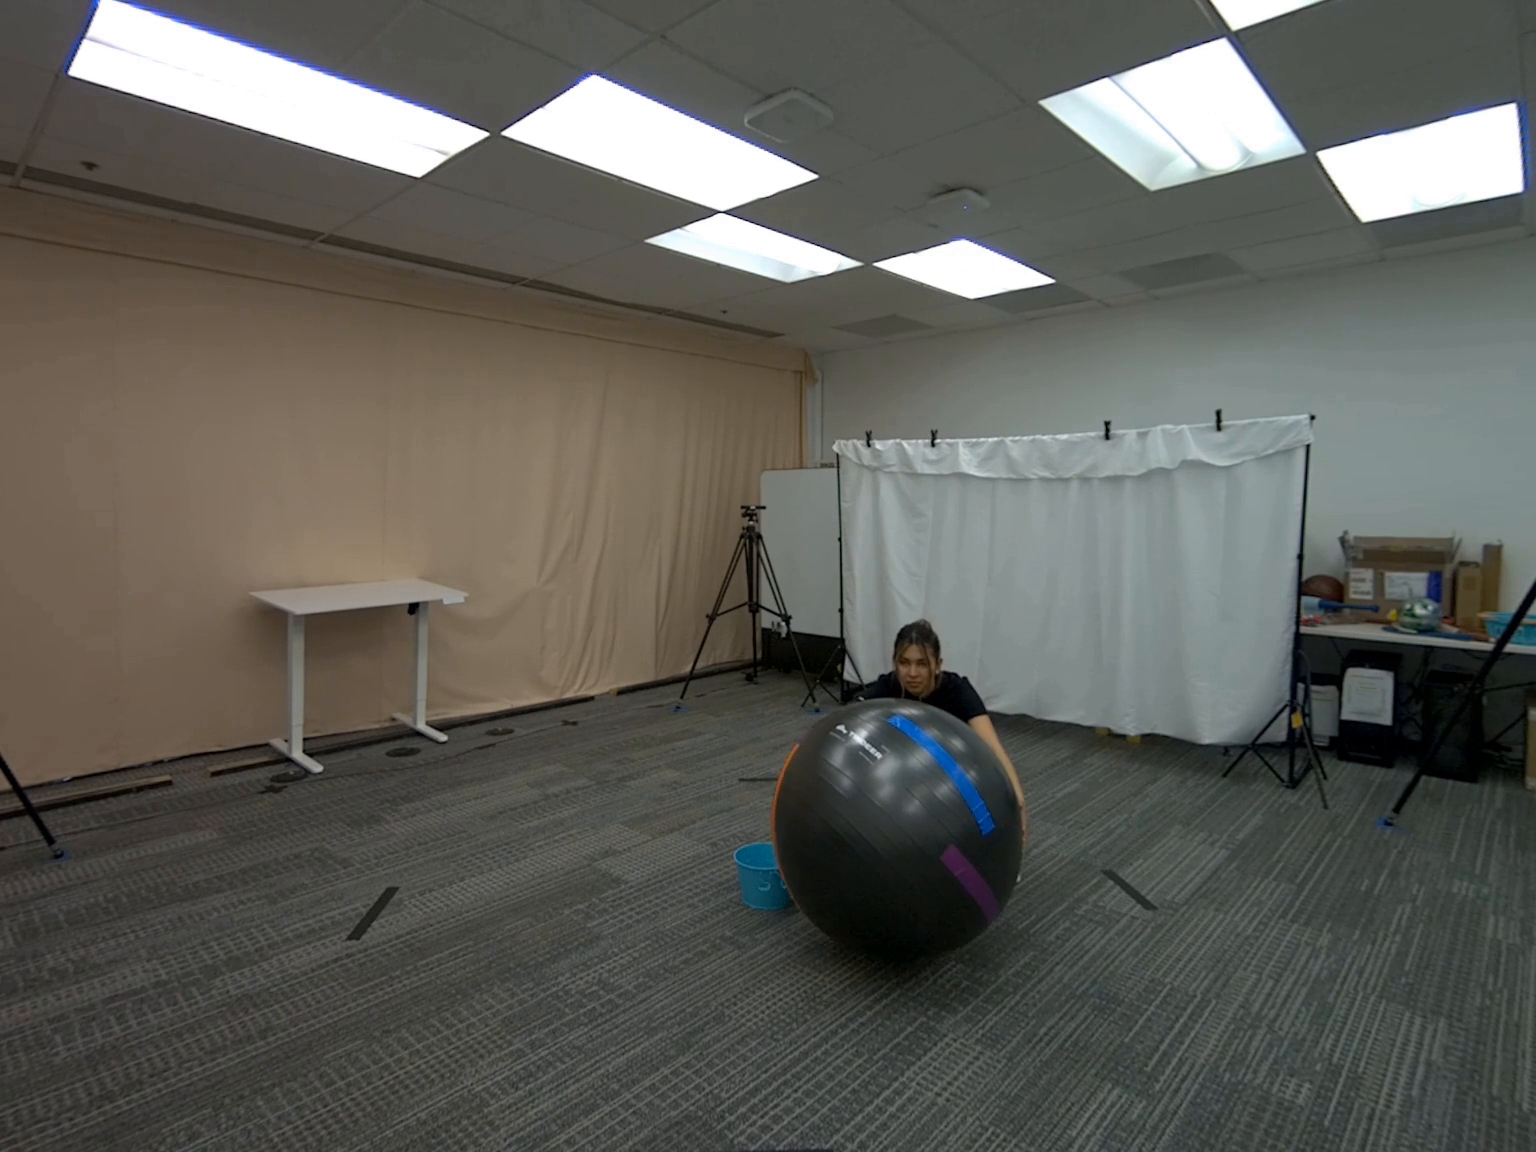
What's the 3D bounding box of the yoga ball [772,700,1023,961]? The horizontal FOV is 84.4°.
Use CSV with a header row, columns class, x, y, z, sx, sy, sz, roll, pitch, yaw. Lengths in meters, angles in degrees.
class,x,y,z,sx,sy,sz,roll,pitch,yaw
yoga ball,0.388,0.762,2.586,0.757,0.756,0.760,0,4,-2
